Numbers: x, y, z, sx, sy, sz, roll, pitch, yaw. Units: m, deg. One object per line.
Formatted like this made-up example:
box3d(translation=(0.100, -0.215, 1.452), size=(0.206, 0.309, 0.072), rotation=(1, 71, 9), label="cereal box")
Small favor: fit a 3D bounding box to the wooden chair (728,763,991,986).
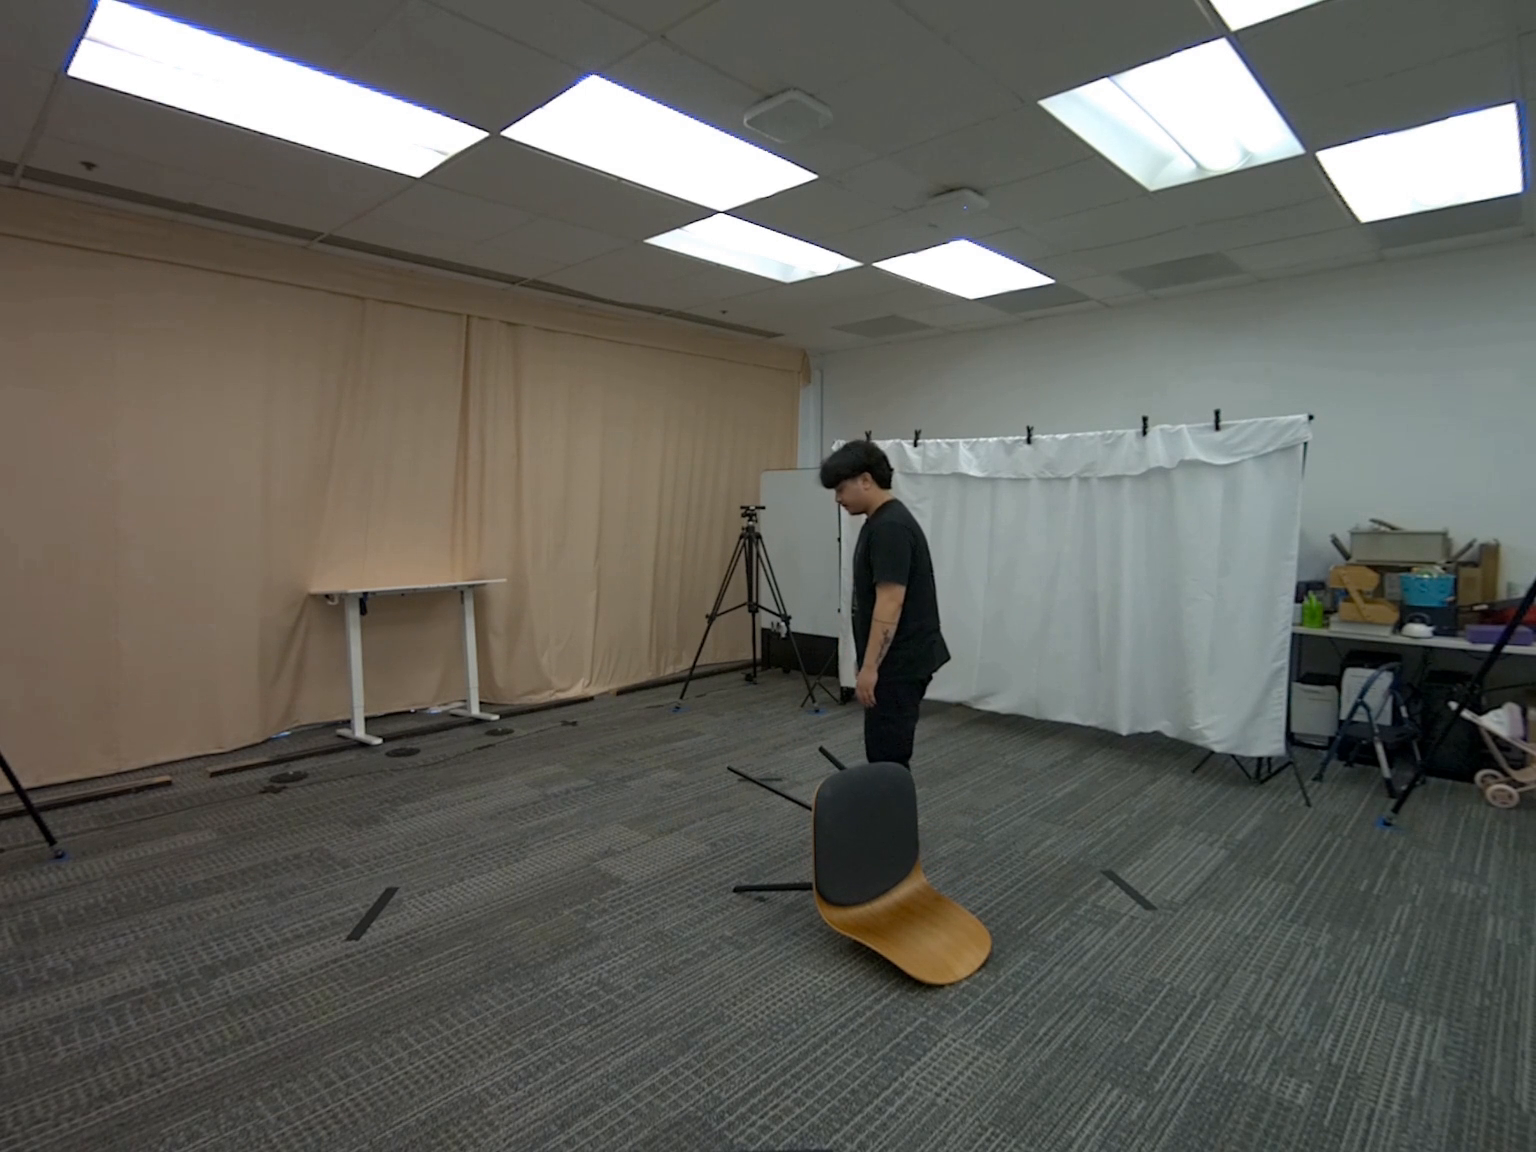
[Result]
box3d(translation=(0.302, 0.900, 2.814), size=(0.464, 0.522, 0.906), rotation=(-3, 6, -36), label="wooden chair")
